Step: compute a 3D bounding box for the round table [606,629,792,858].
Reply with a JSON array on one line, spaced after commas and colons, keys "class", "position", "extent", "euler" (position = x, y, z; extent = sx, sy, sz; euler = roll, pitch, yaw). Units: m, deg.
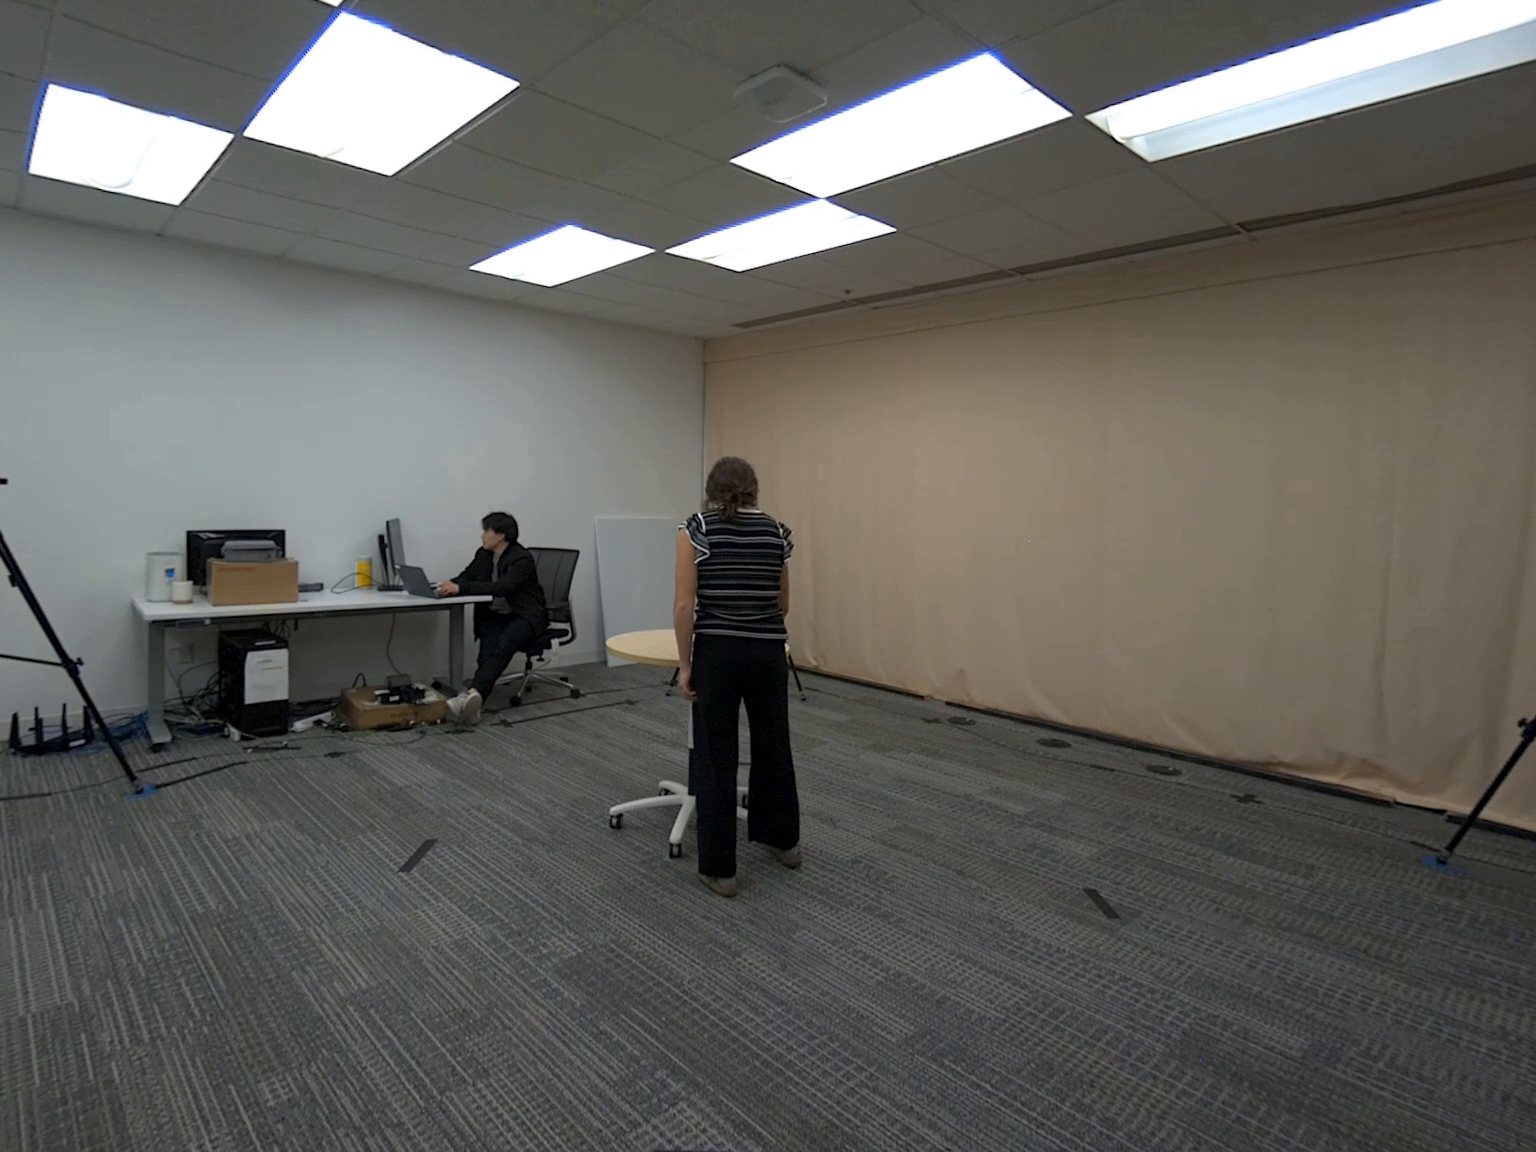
[{"class": "round table", "position": [-0.319, 0.675, 3.549], "extent": [0.763, 0.792, 0.766], "euler": [2, 4, -2]}]
